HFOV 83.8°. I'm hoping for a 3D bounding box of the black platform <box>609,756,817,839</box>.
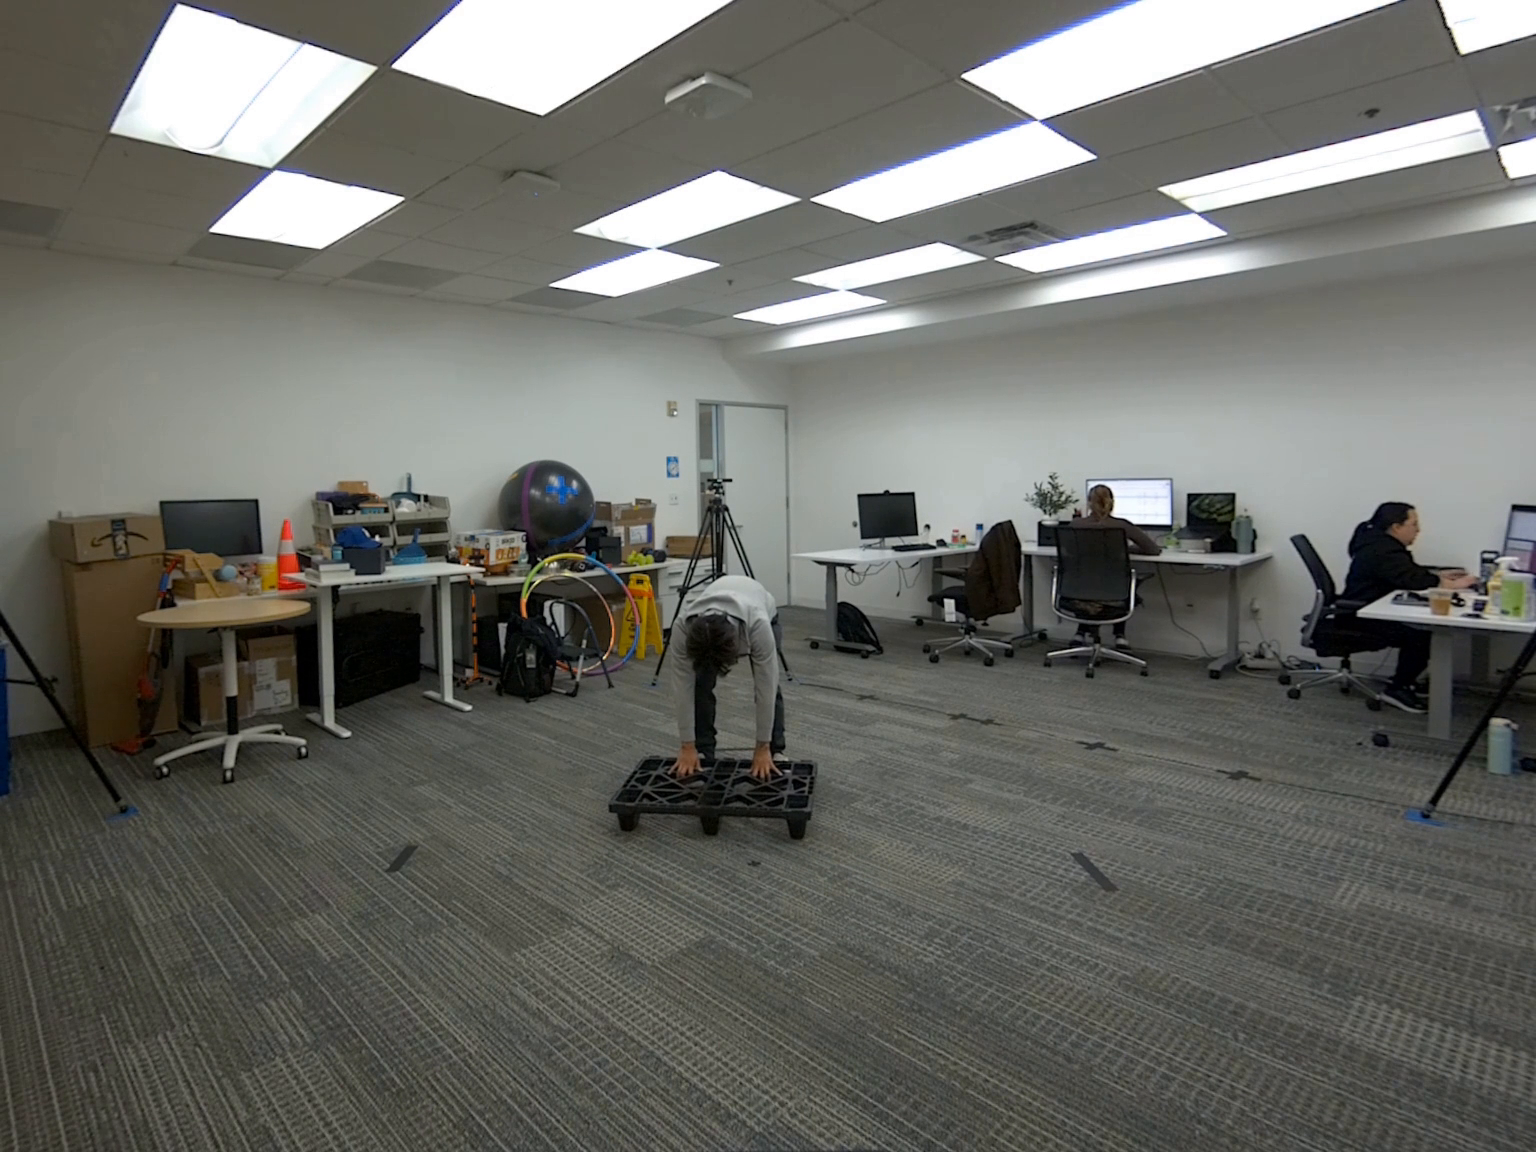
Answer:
[{"bbox_3d":[-0.205,0.925,3.590,0.812,0.143,0.602,0,5,8],"label":"black platform"}]
